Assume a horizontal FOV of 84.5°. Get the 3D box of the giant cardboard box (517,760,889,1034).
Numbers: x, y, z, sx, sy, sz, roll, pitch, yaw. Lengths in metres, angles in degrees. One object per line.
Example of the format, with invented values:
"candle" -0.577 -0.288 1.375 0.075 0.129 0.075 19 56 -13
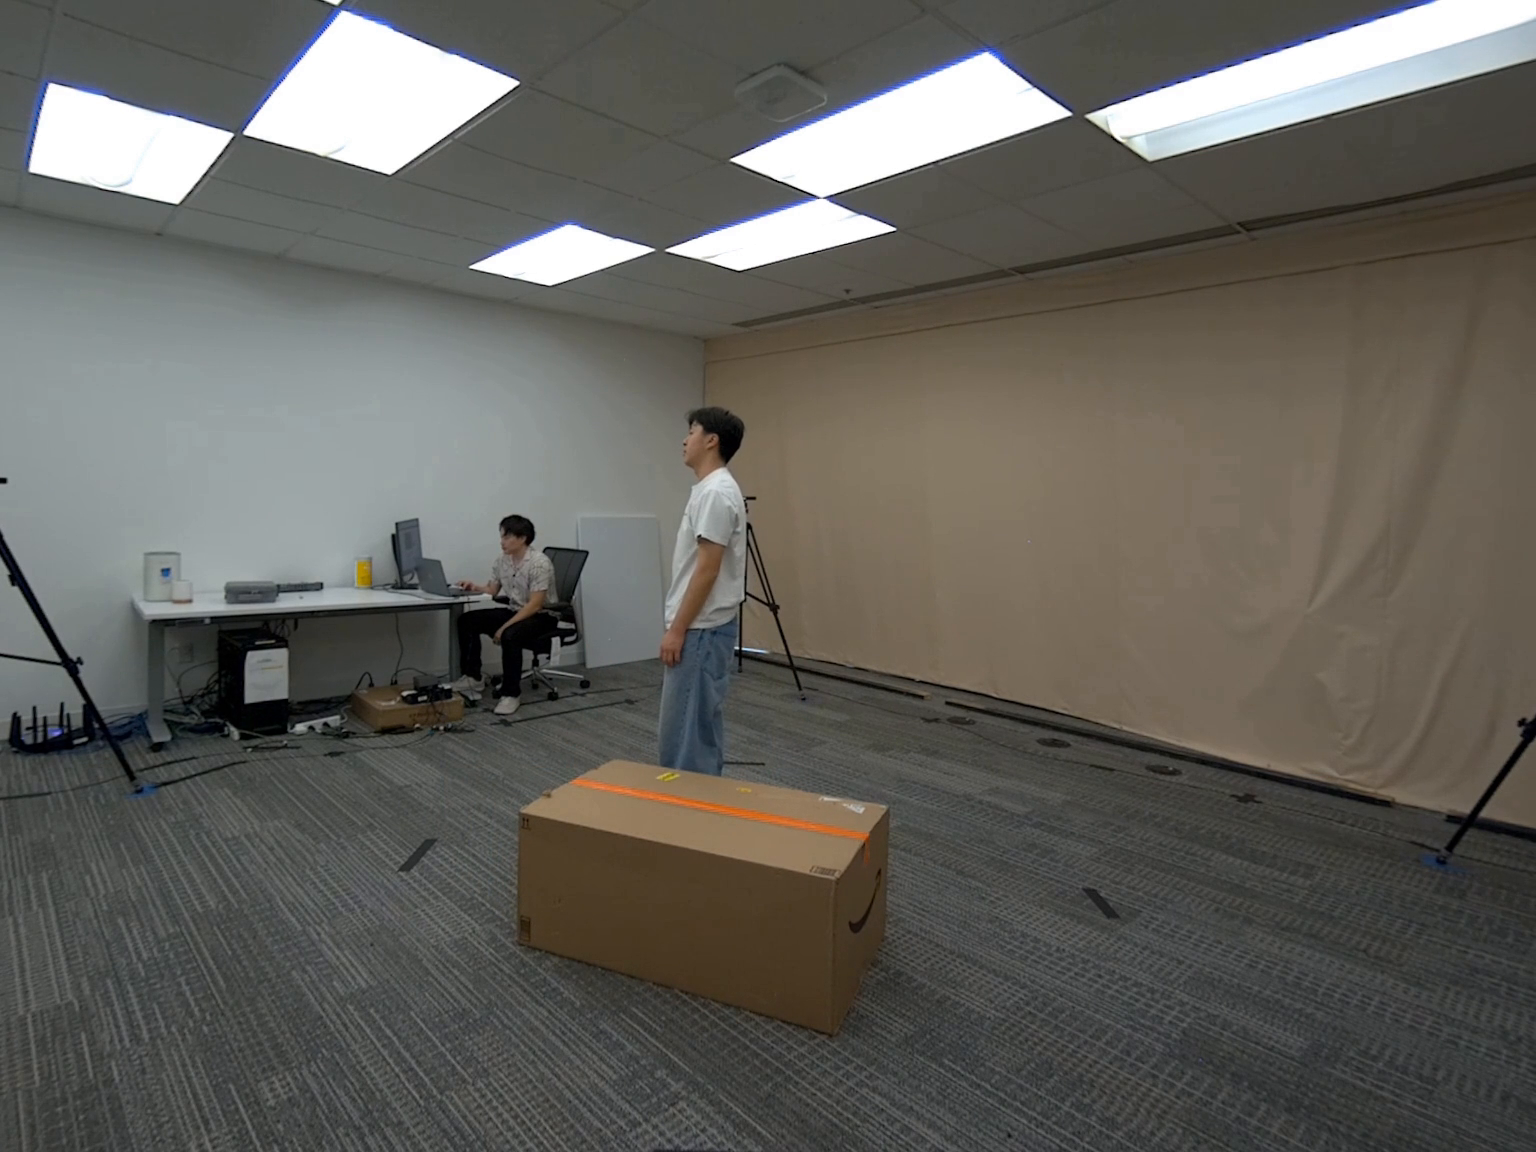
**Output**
"giant cardboard box" -0.197 0.932 2.635 1.044 0.425 0.568 3 4 23
